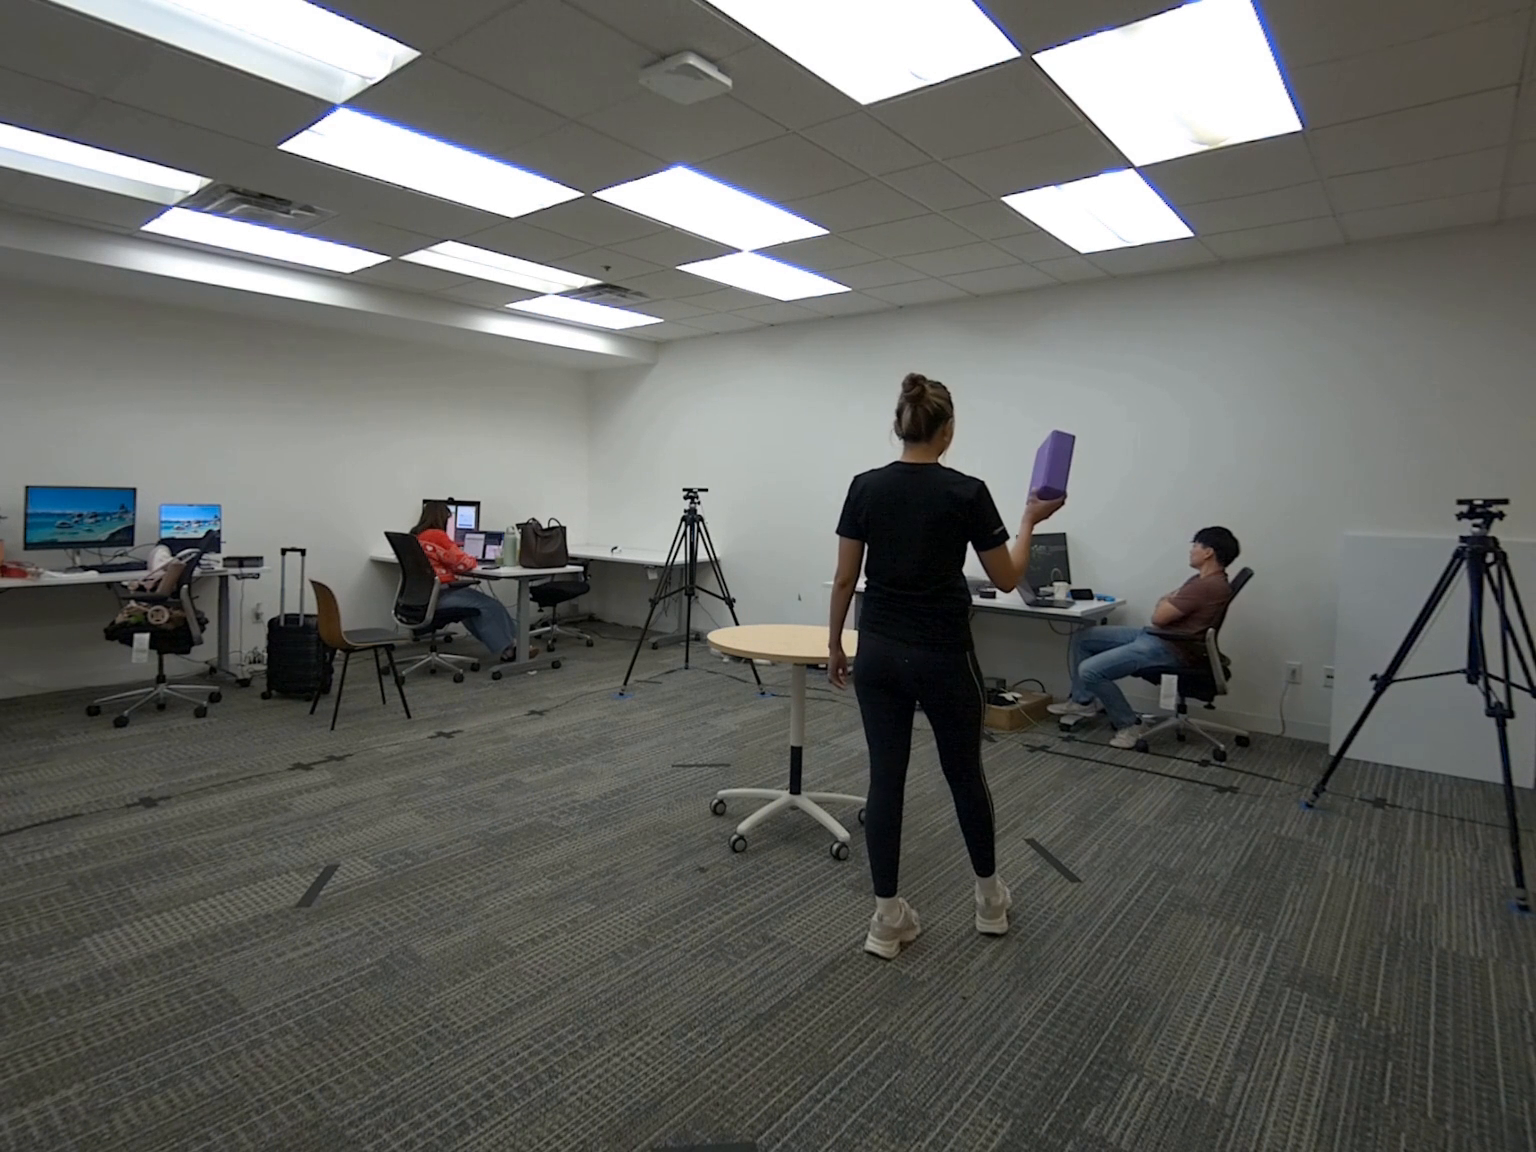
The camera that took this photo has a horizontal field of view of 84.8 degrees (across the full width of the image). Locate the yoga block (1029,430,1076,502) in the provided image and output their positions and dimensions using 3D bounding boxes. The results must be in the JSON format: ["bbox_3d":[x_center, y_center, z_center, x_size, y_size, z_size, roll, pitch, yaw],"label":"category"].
[{"bbox_3d":[0.914,-0.347,2.759,0.077,0.232,0.146,13,-22,1],"label":"yoga block"}]
